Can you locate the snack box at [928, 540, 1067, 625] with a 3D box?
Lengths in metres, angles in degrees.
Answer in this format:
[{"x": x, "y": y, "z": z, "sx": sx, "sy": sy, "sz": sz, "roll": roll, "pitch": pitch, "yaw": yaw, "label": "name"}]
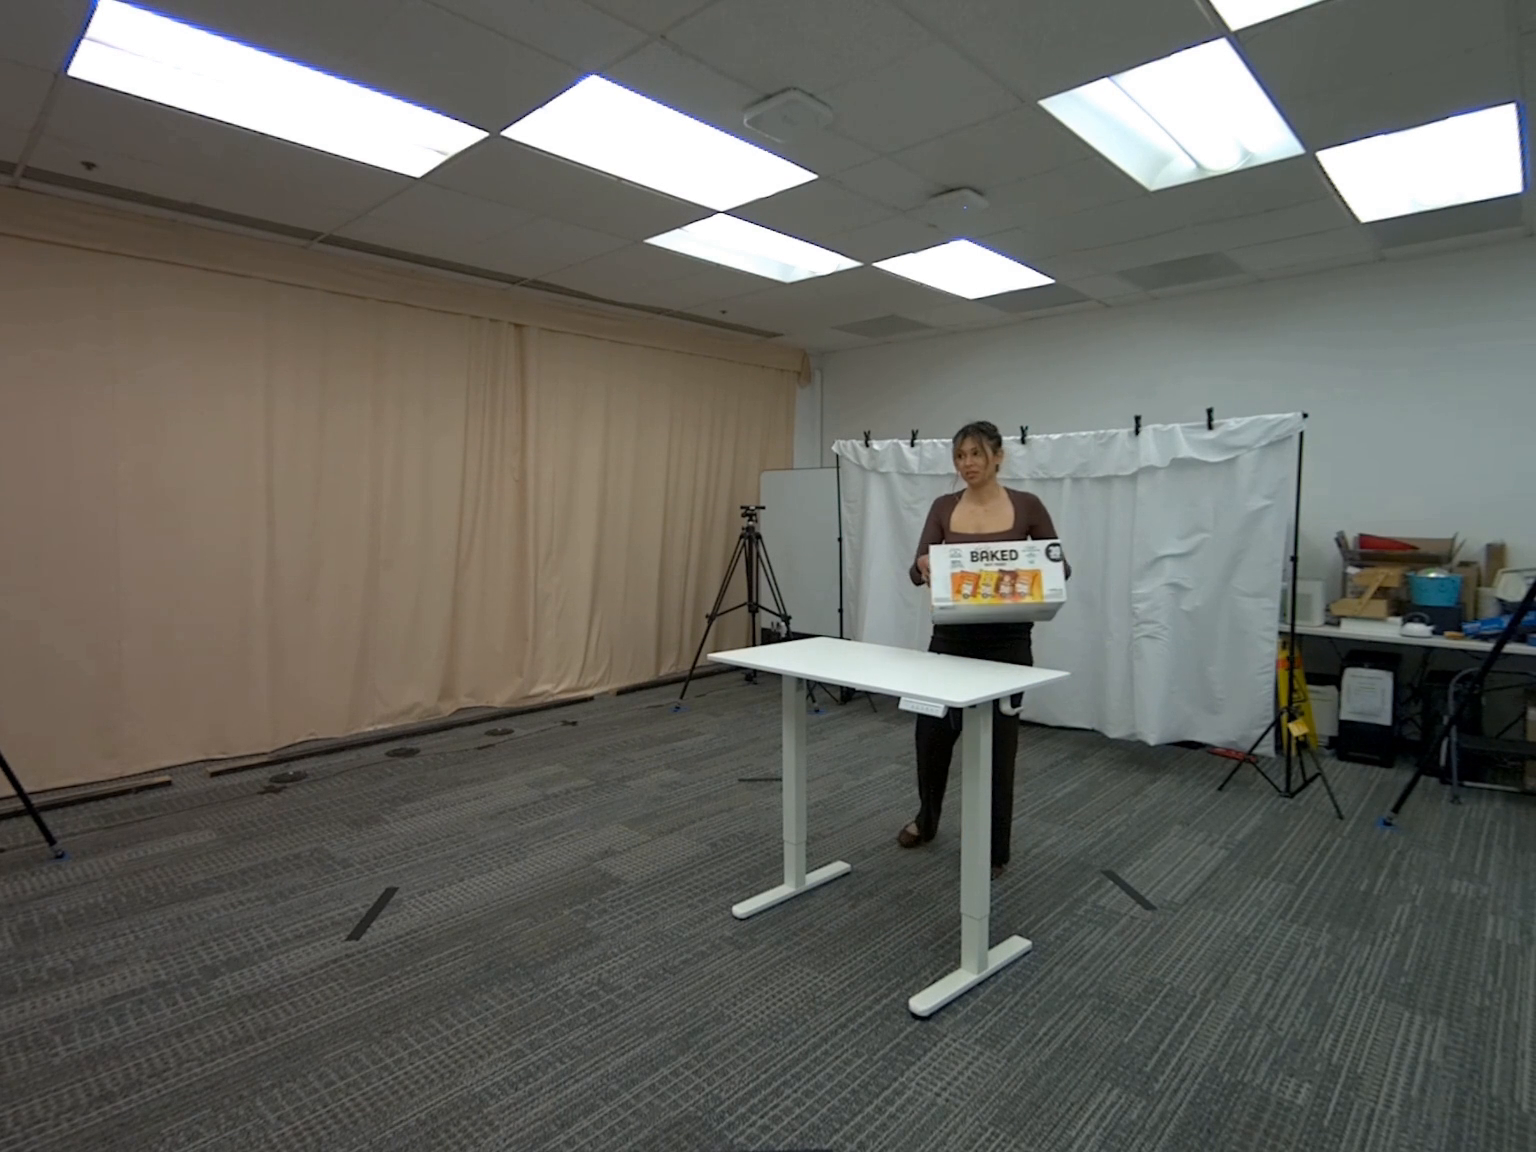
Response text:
[{"x": 0.759, "y": 0.036, "z": 2.843, "sx": 0.410, "sy": 0.207, "sz": 0.333, "roll": -2, "pitch": -14, "yaw": 11, "label": "snack box"}]
